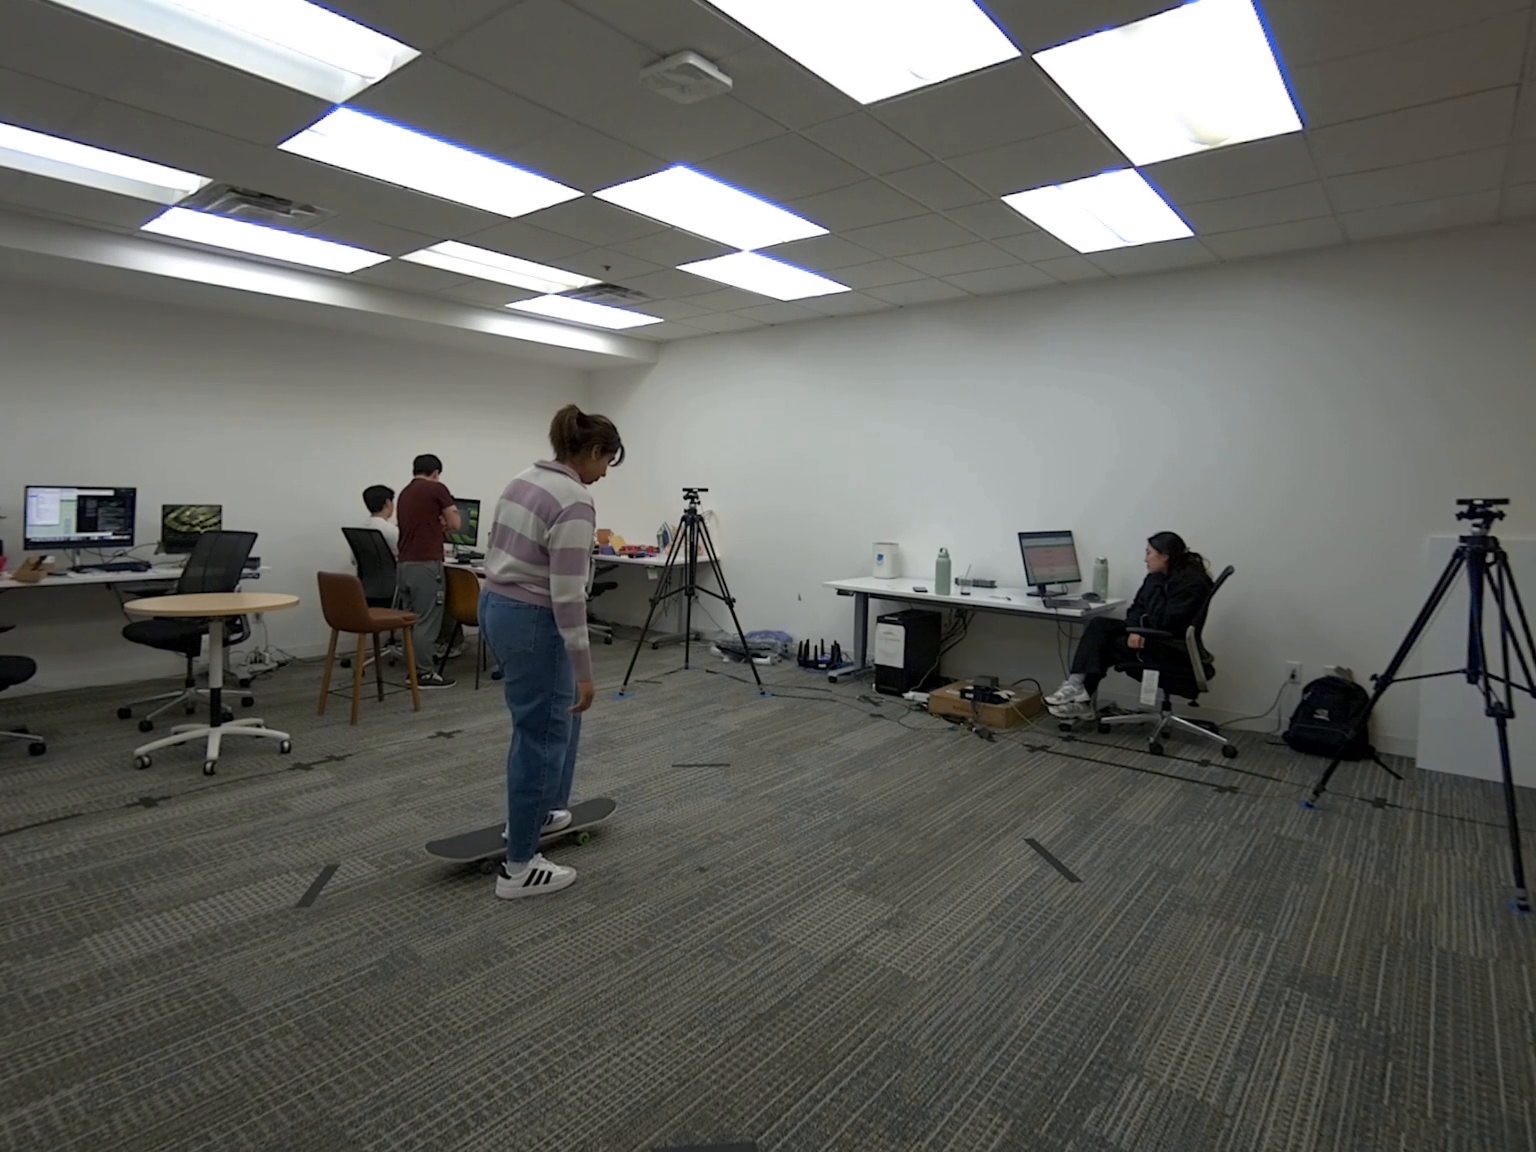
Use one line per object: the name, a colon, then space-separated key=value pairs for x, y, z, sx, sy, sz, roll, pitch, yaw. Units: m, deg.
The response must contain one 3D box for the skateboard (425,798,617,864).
skateboard: x=-0.924 y=0.991 z=3.236 sx=0.762 sy=0.110 sz=0.200 roll=-5 pitch=10 yaw=-42
